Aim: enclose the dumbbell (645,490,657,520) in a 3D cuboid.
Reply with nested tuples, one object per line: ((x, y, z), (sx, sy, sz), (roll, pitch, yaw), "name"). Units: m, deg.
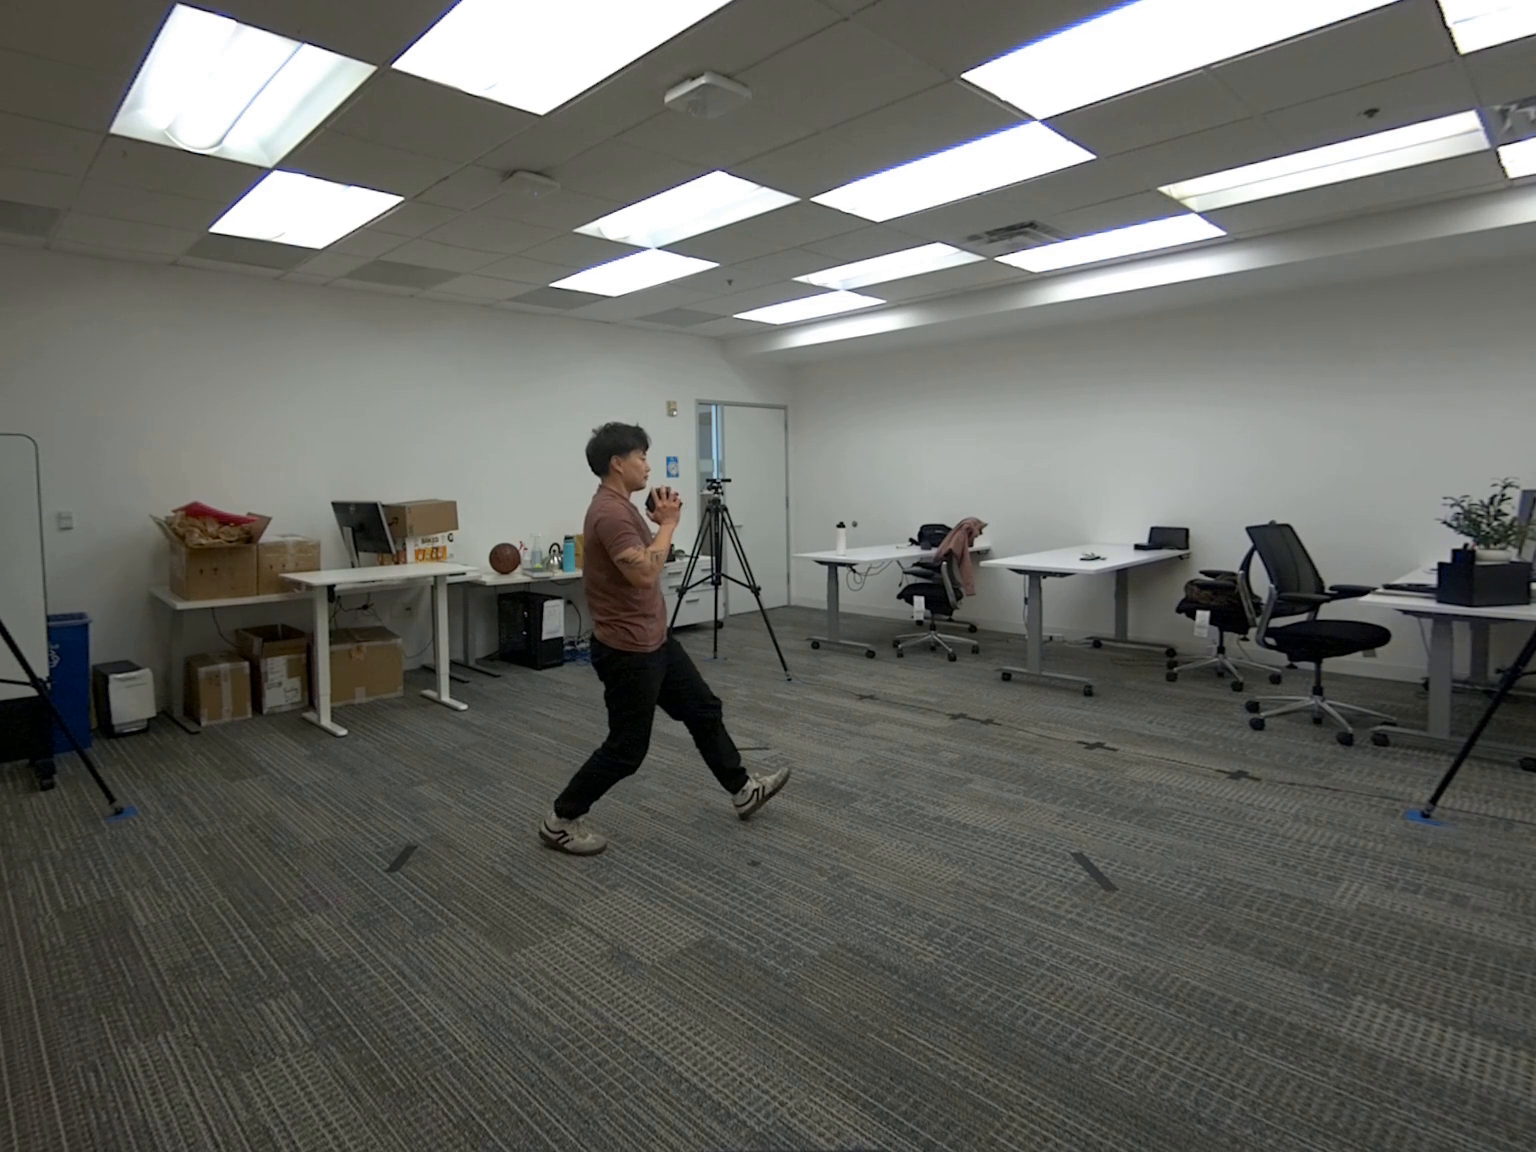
((-0.430, -0.273, 3.289), (0.123, 0.108, 0.294), (-15, 6, 1), "dumbbell")
